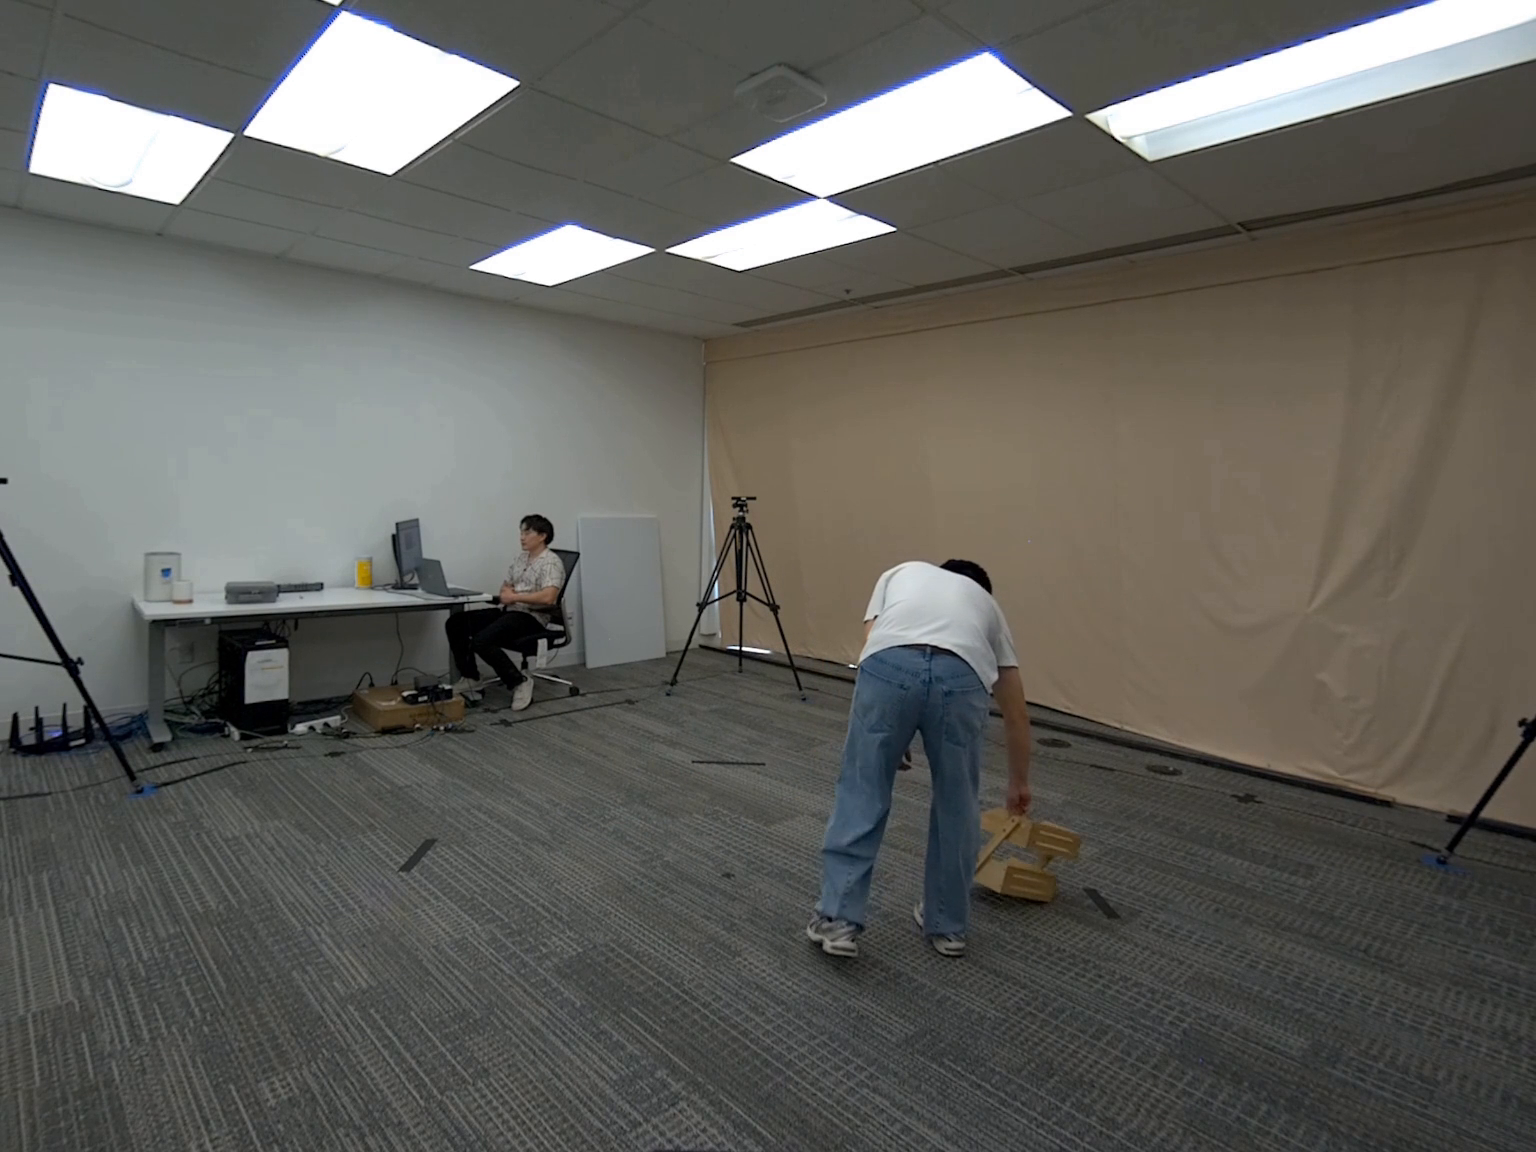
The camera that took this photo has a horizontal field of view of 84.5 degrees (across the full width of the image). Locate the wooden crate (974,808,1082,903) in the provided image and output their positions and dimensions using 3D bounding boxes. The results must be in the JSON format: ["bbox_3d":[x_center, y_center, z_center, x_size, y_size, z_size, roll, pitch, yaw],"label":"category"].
[{"bbox_3d":[0.857,0.965,2.986,0.315,0.274,0.309,22,-8,-34],"label":"wooden crate"}]
